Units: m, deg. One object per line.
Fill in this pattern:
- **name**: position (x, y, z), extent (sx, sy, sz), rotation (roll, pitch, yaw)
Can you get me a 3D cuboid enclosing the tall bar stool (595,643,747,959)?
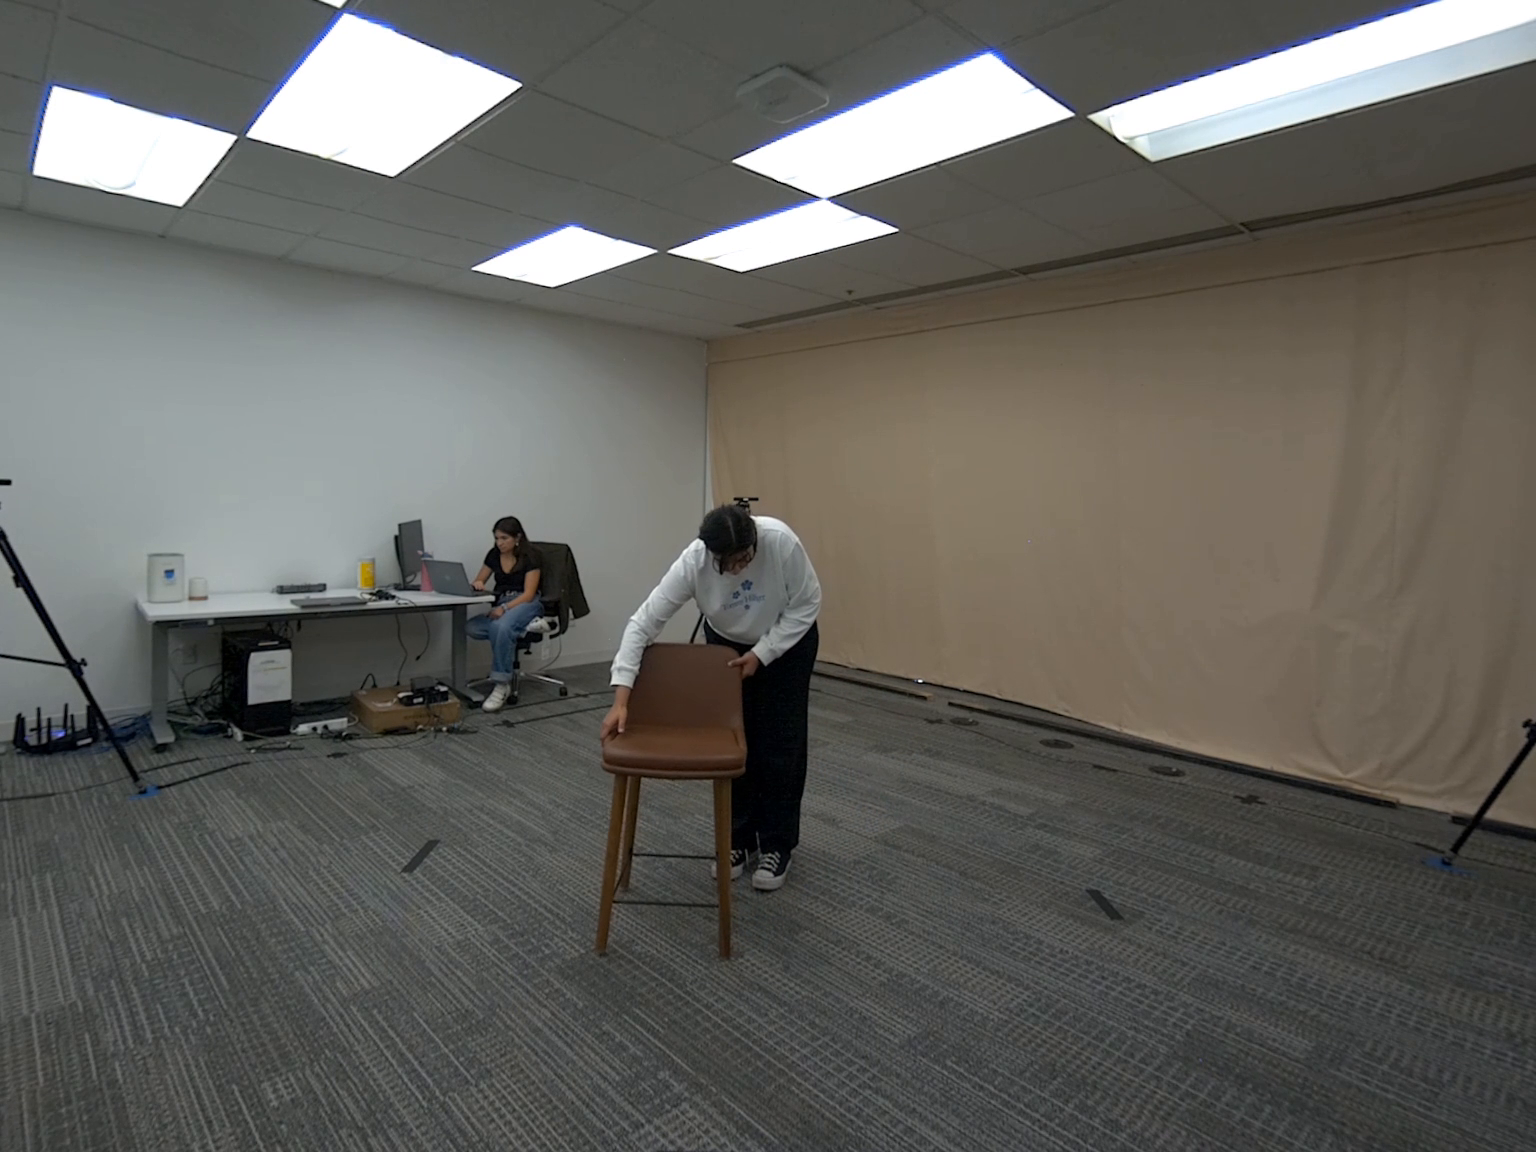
- **tall bar stool**: position (-0.315, 0.698, 2.745), extent (0.455, 0.889, 0.469), rotation (2, 1, -3)
